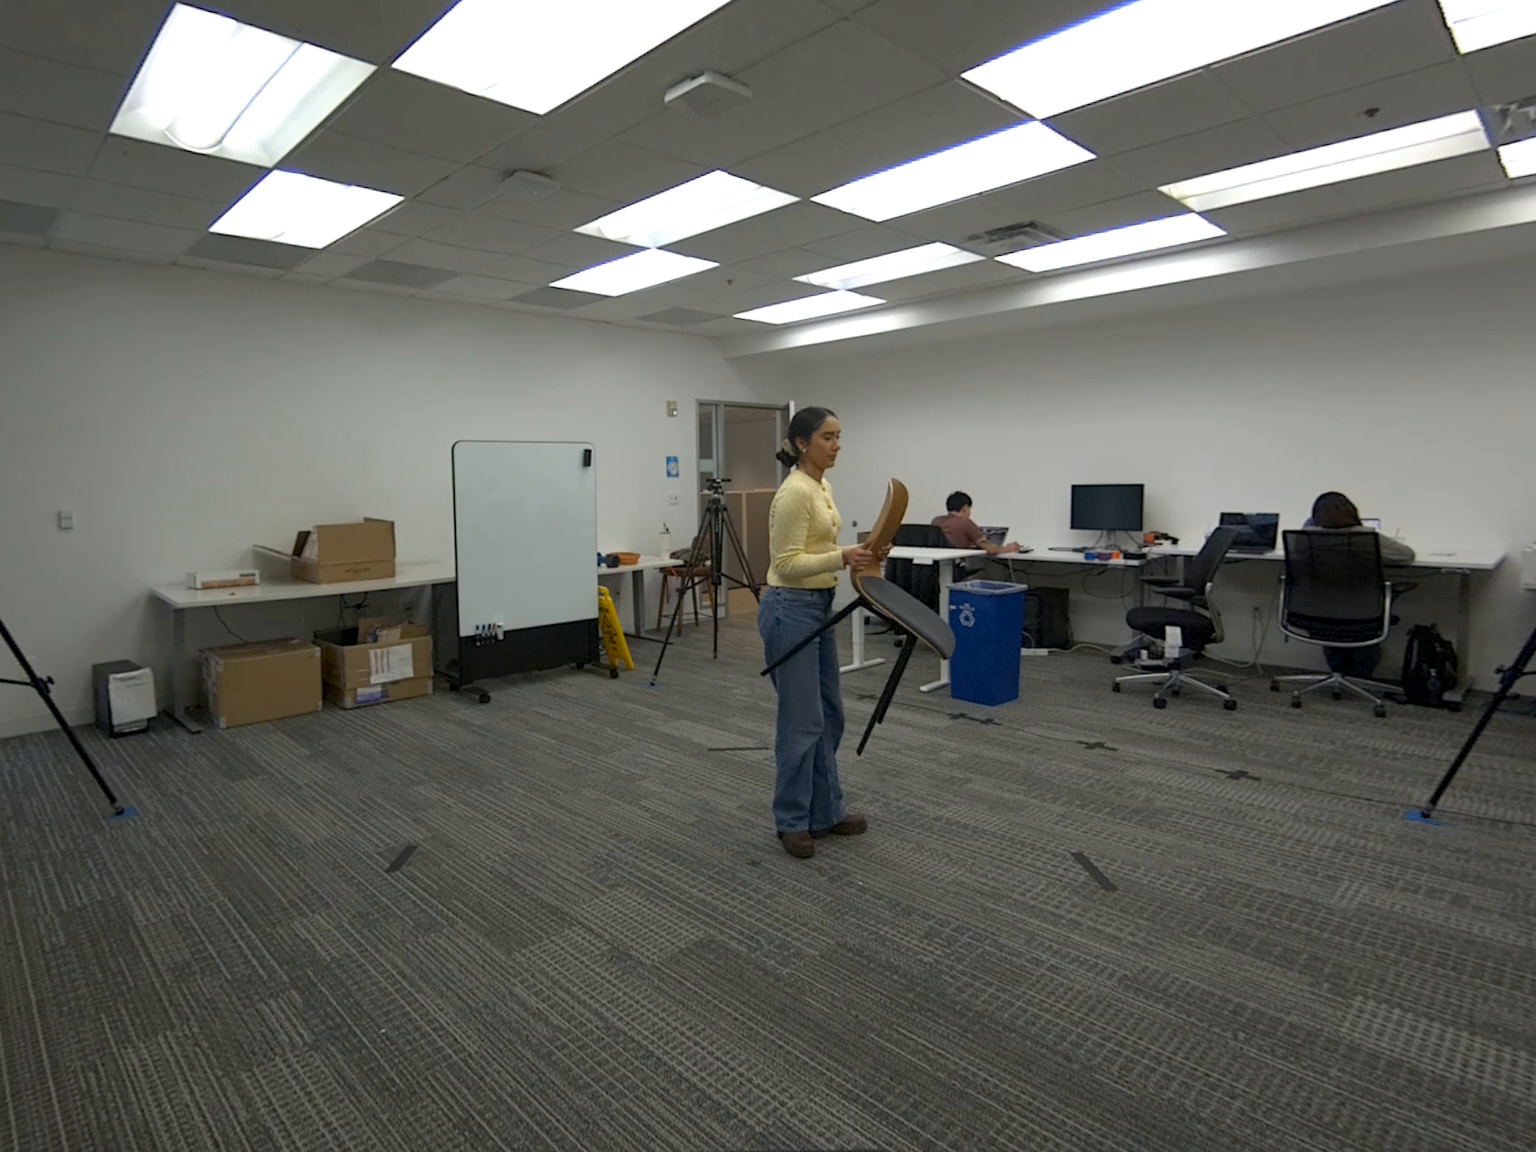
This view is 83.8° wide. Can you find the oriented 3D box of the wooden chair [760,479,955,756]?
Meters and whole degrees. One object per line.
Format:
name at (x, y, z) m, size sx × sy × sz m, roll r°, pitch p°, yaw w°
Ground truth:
wooden chair at (0.452, 0.146, 3.173) m, size 0.533 × 0.874 × 0.471 m, roll 33°, pitch 11°, yaw 14°
